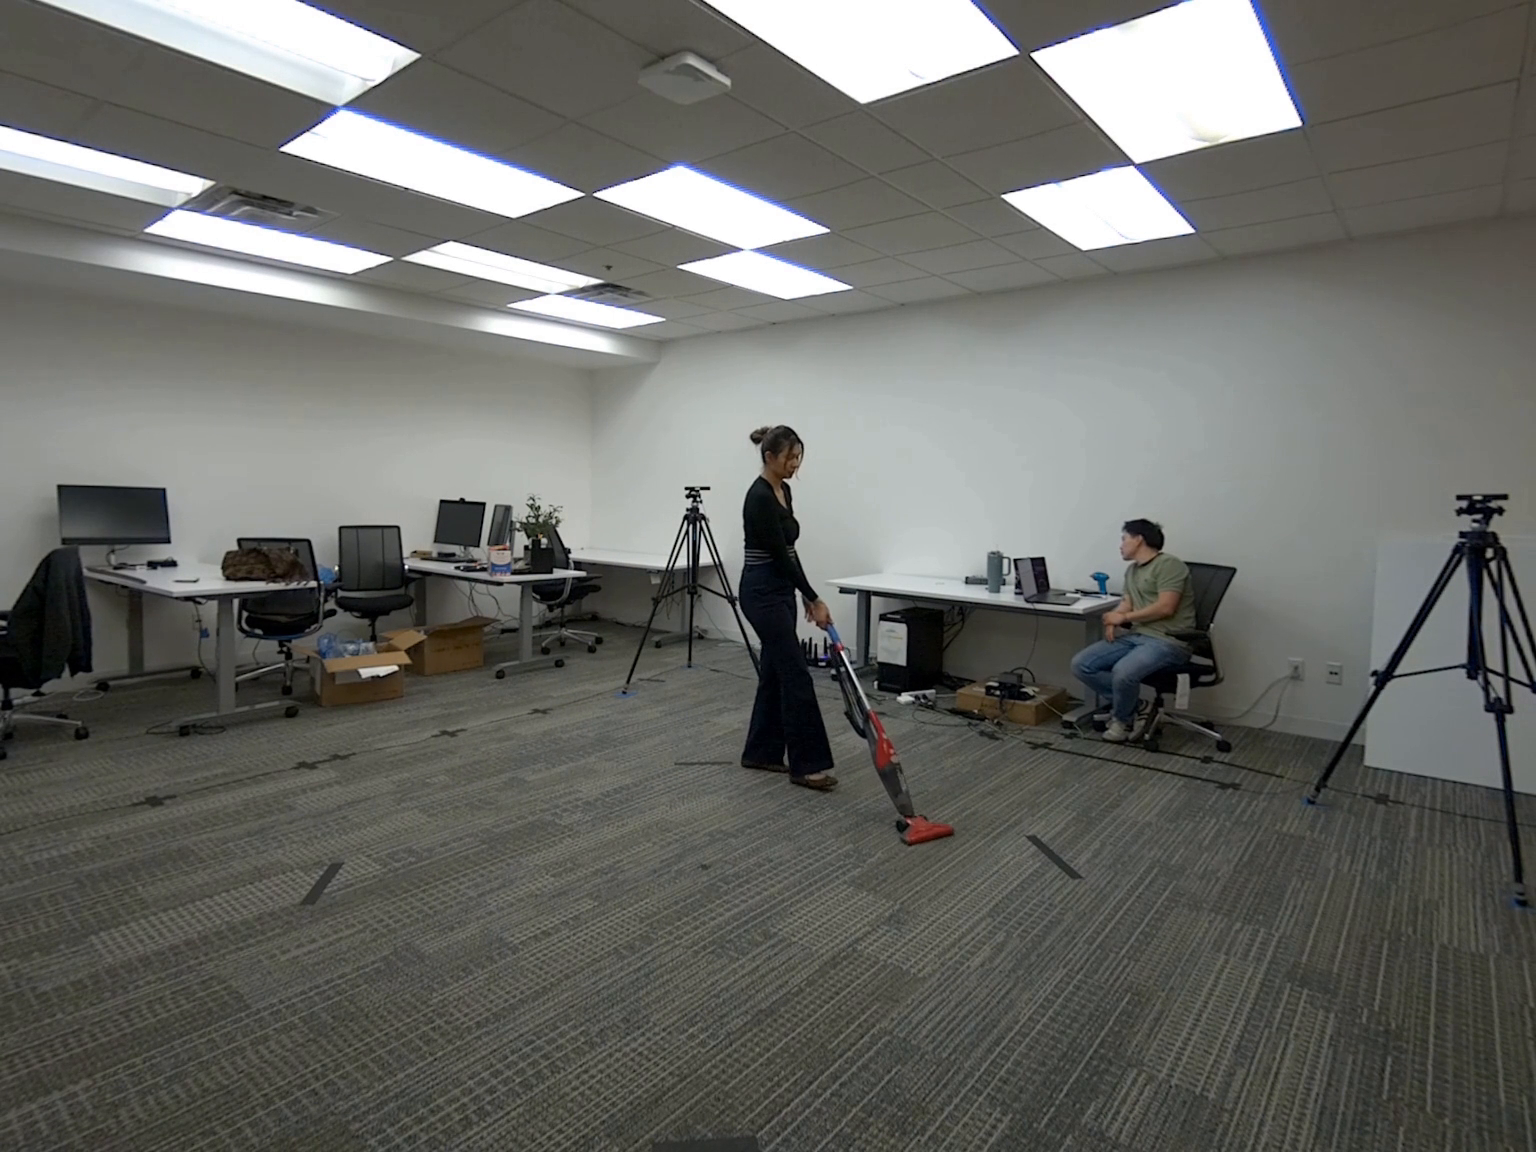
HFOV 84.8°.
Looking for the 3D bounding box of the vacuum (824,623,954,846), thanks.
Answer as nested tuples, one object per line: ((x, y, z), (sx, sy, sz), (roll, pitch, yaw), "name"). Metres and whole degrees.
((0.426, 0.622, 3.723), (0.244, 1.087, 0.144), (7, -44, -41), "vacuum")
